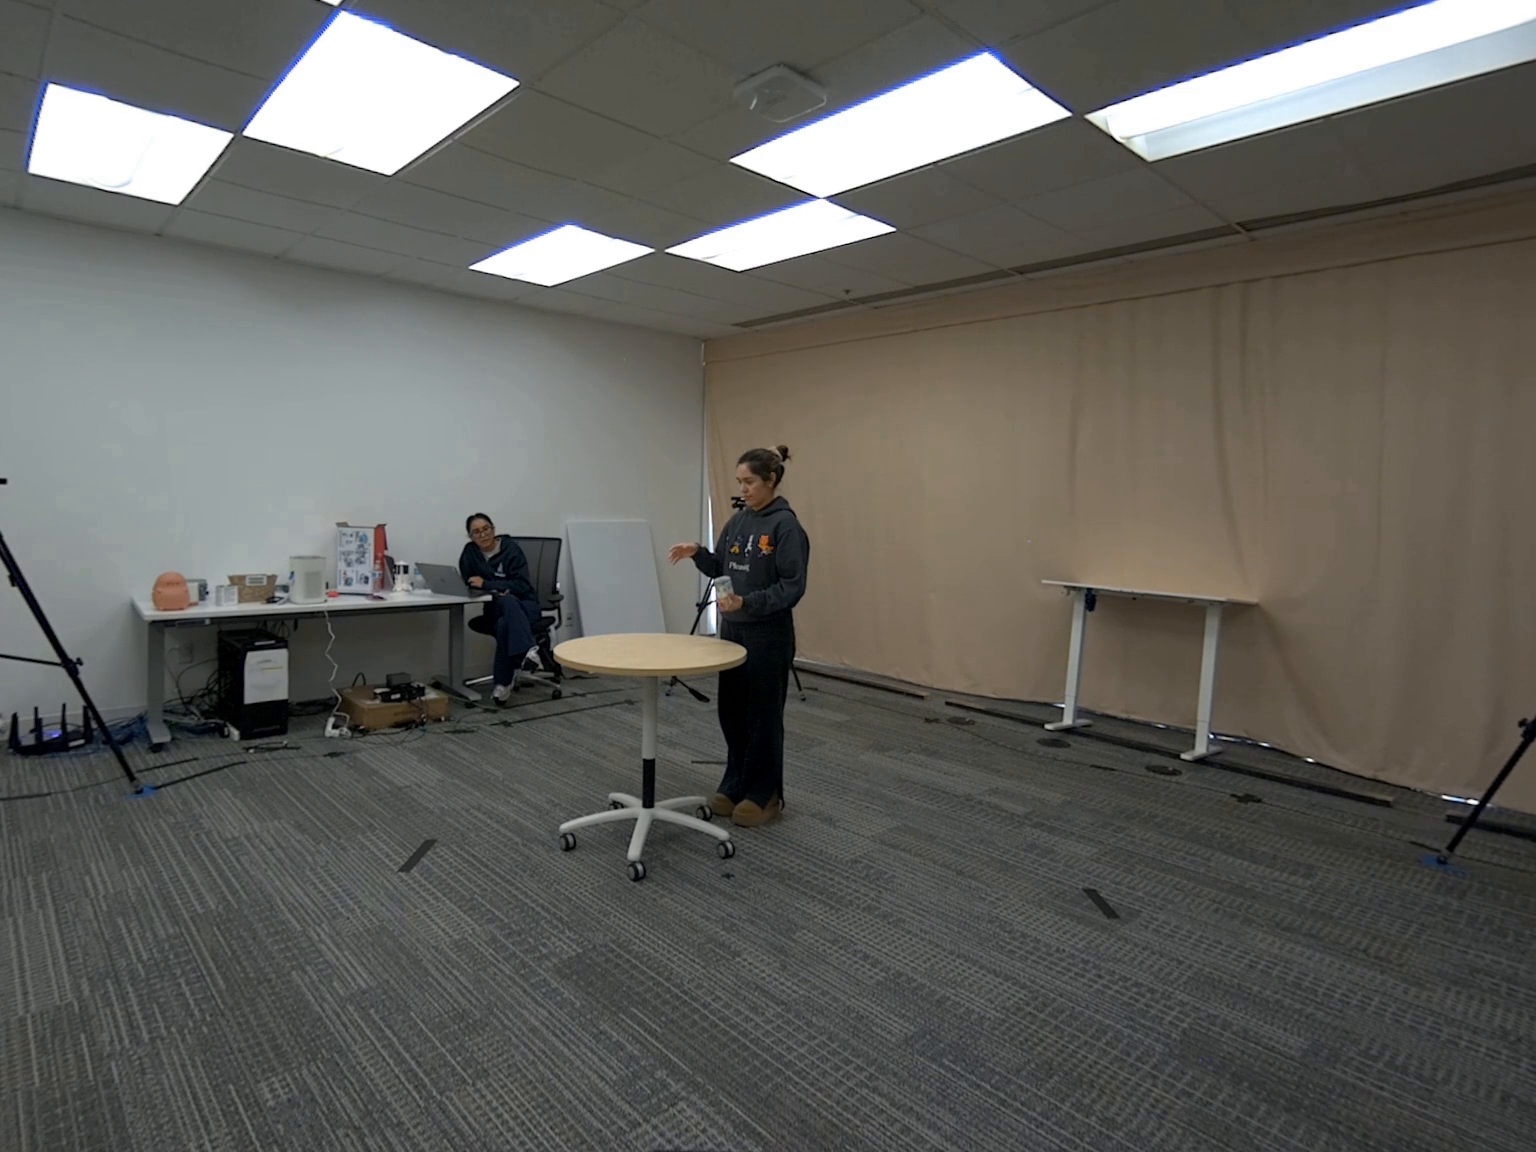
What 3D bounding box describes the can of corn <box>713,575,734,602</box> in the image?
[{"bbox_3d":[-0.189,0.060,3.482,0.074,0.109,0.075,-8,17,1],"label":"can of corn"}]
